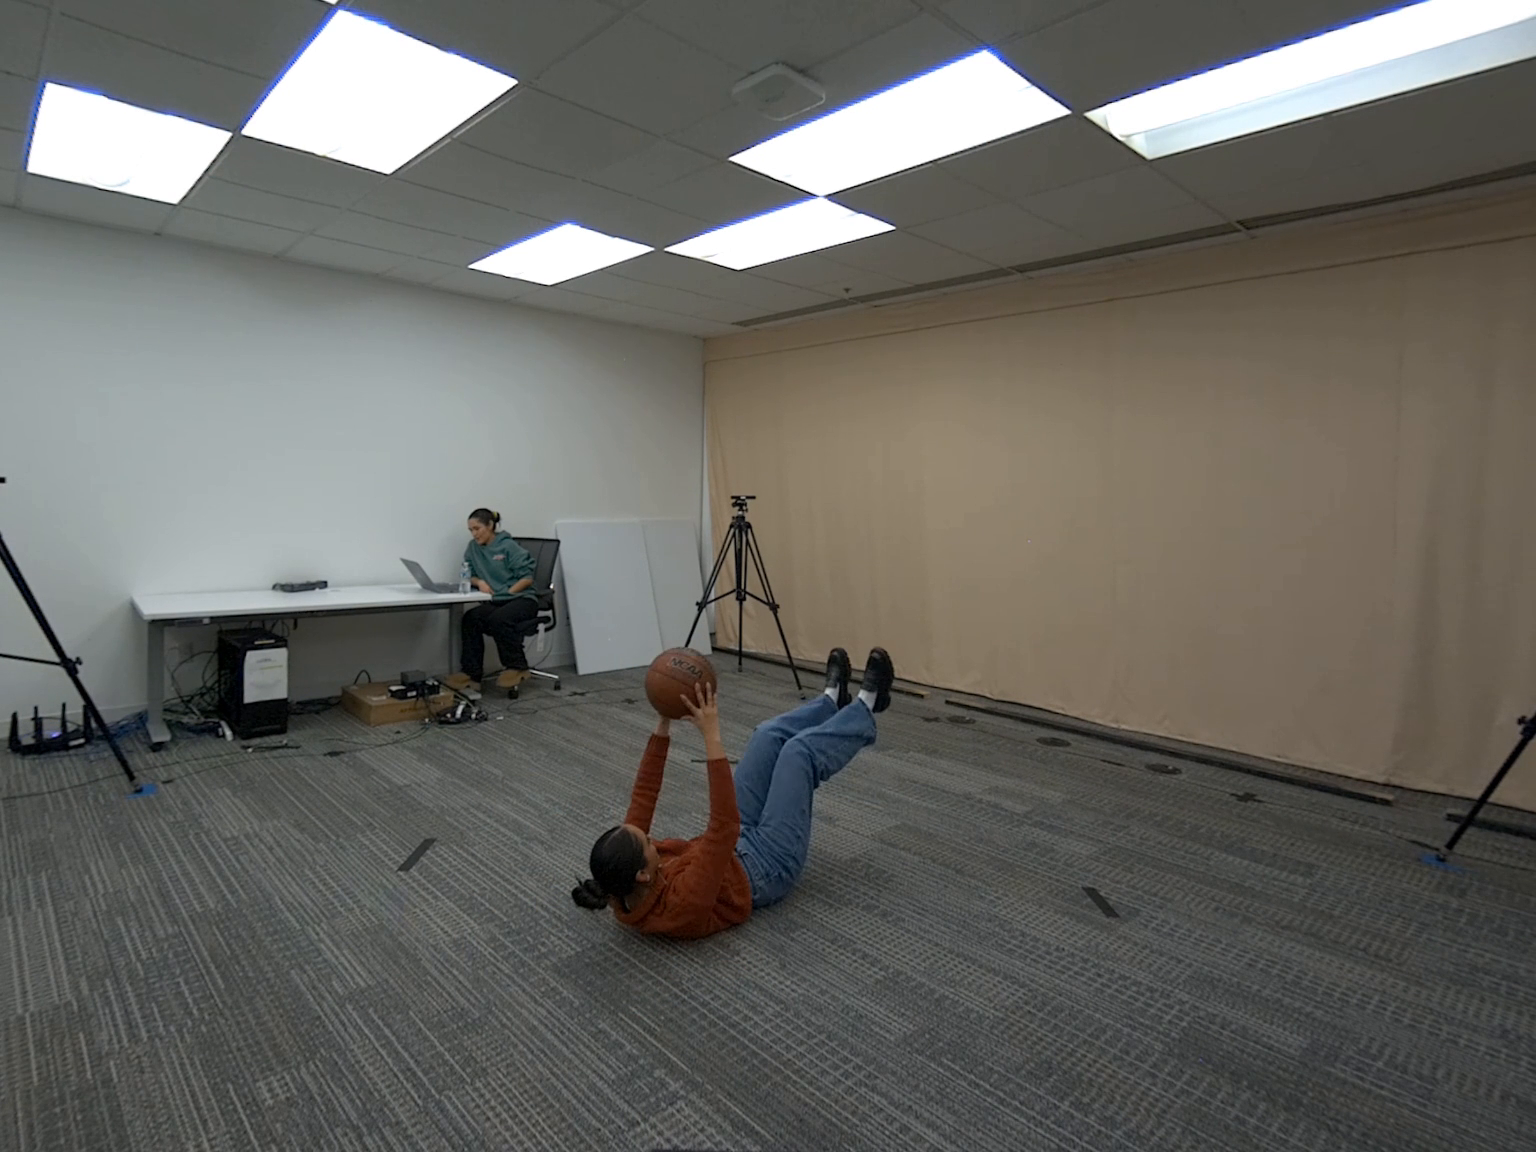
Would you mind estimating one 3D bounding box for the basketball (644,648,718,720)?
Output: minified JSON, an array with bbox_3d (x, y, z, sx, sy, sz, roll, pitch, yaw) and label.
[{"bbox_3d":[-0.298,0.359,2.747,0.236,0.234,0.237,0,8,-1],"label":"basketball"}]
